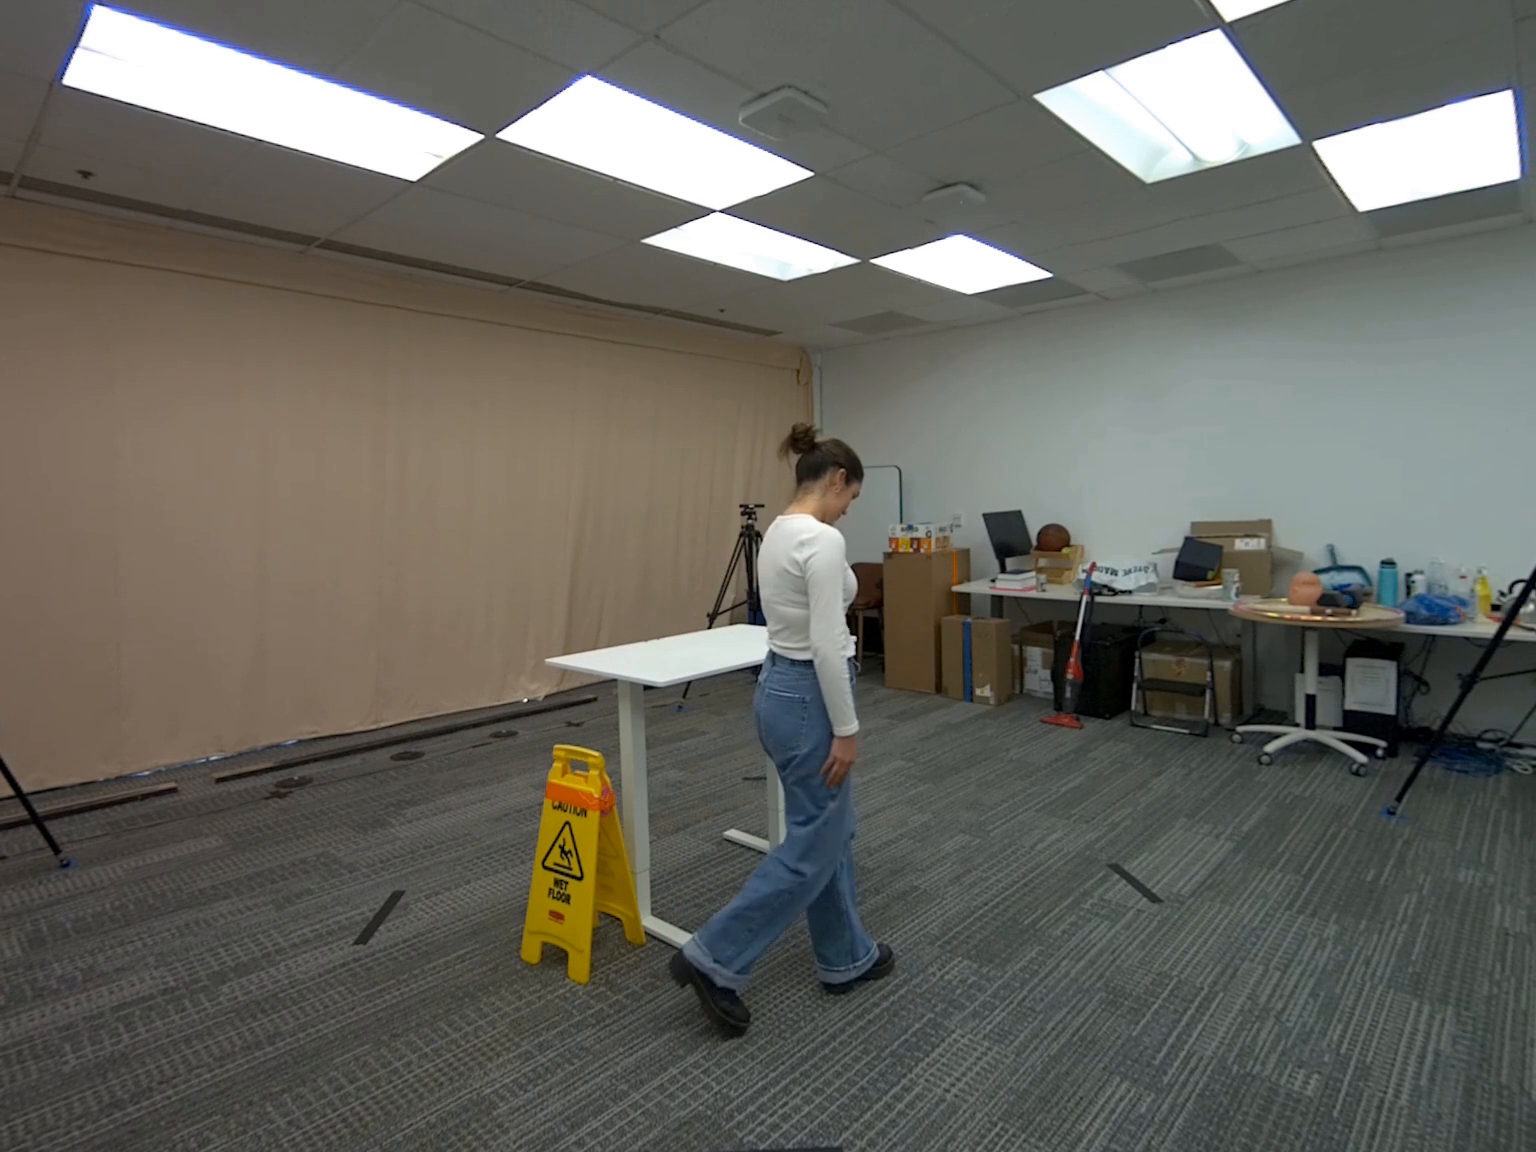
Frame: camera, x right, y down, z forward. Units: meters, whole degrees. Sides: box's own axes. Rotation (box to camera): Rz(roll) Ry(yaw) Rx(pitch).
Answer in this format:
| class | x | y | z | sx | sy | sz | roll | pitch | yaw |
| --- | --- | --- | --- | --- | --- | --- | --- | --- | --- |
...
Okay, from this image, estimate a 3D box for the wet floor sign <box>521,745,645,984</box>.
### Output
| class | x | y | z | sx | sy | sz | roll | pitch | yaw |
| --- | --- | --- | --- | --- | --- | --- | --- | --- | --- |
| wet floor sign | -0.589 | 0.862 | 2.629 | 0.291 | 0.645 | 0.282 | 0 | 4 | 34 |
